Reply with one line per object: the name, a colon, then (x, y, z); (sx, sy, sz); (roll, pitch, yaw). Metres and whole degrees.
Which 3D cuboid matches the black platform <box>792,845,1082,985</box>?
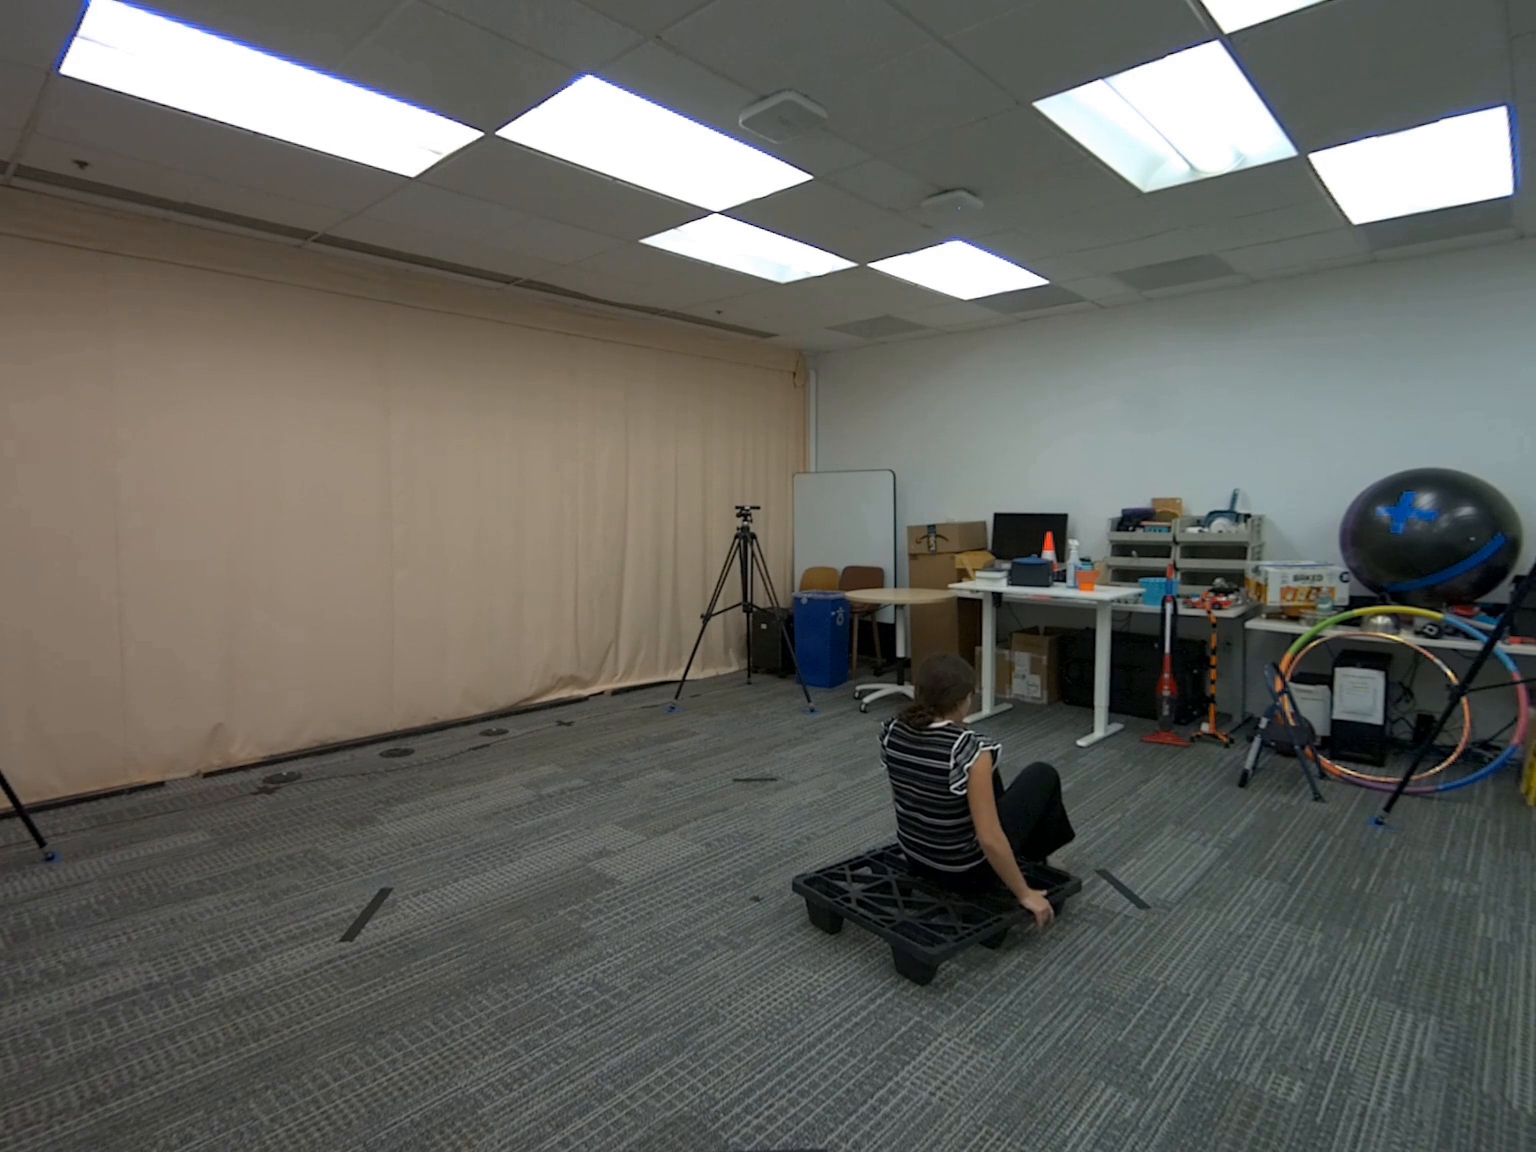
black platform: (0.574, 1.088, 2.830); (0.781, 0.143, 0.625); (-3, 7, -39)
